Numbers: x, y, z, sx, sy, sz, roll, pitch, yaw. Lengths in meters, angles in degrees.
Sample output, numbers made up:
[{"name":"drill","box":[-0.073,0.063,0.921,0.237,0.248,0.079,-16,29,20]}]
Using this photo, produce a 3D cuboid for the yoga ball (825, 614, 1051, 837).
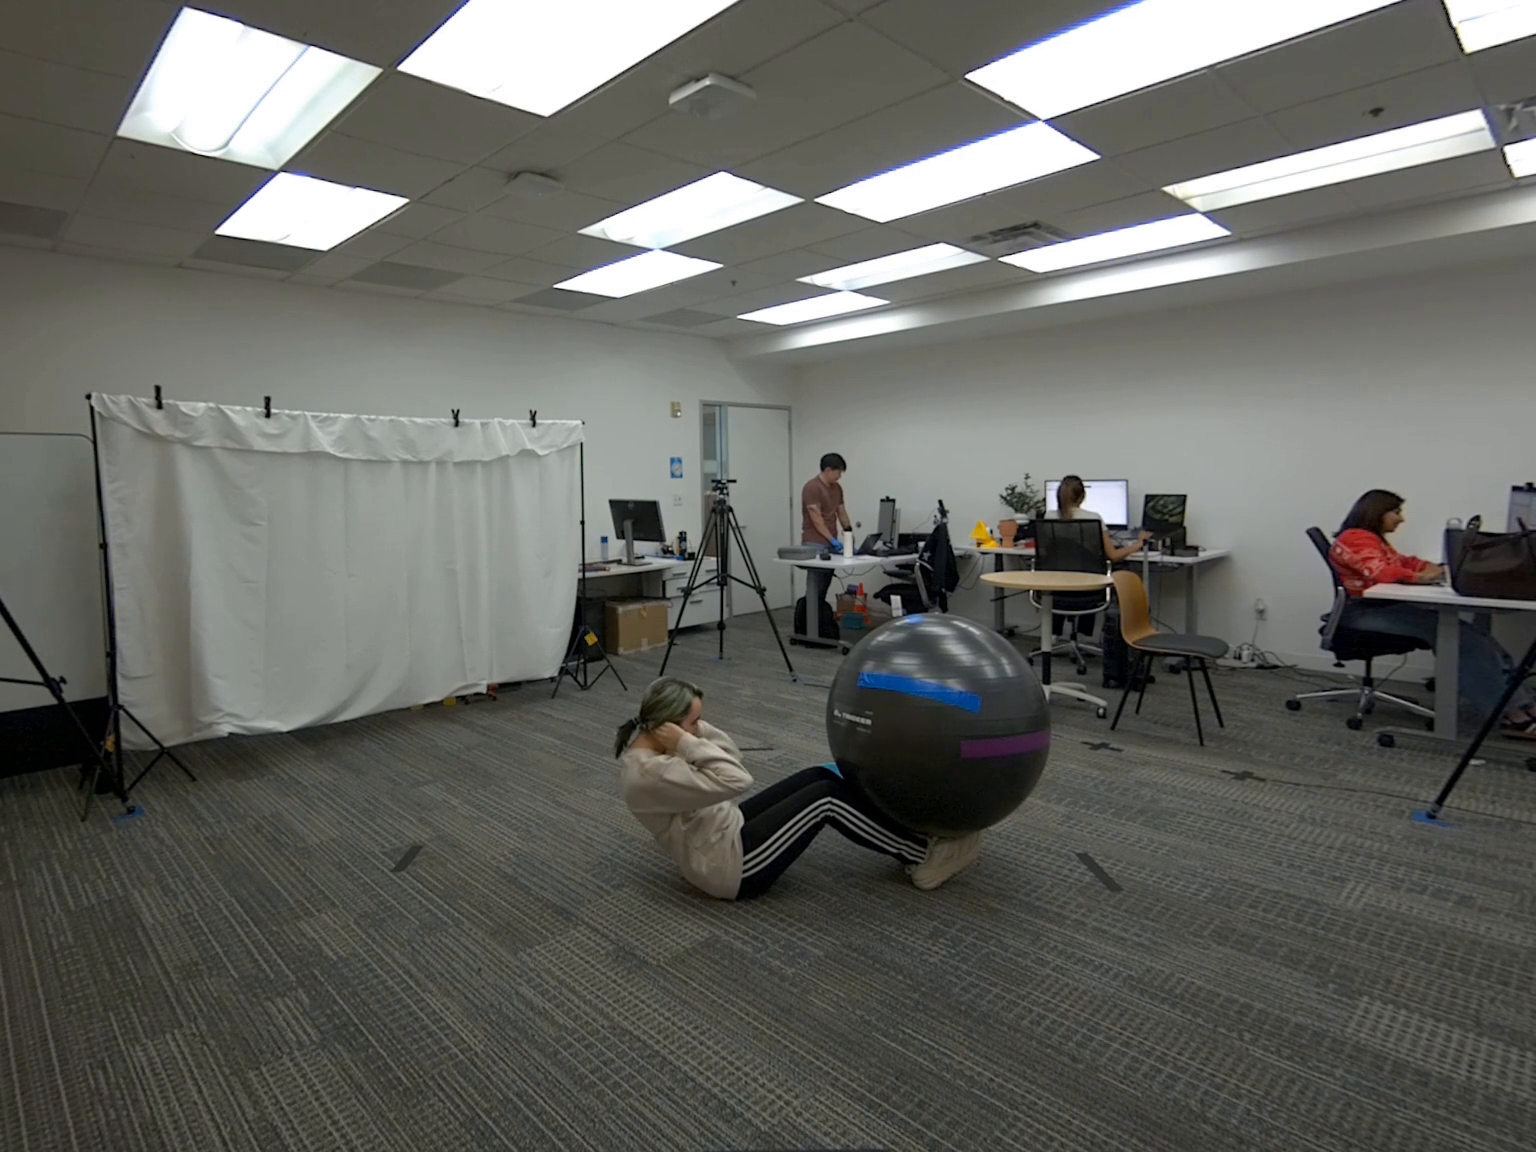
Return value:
[{"name":"yoga ball","box":[0.605,0.516,2.995,0.757,0.755,0.762,-1,5,-2]}]
